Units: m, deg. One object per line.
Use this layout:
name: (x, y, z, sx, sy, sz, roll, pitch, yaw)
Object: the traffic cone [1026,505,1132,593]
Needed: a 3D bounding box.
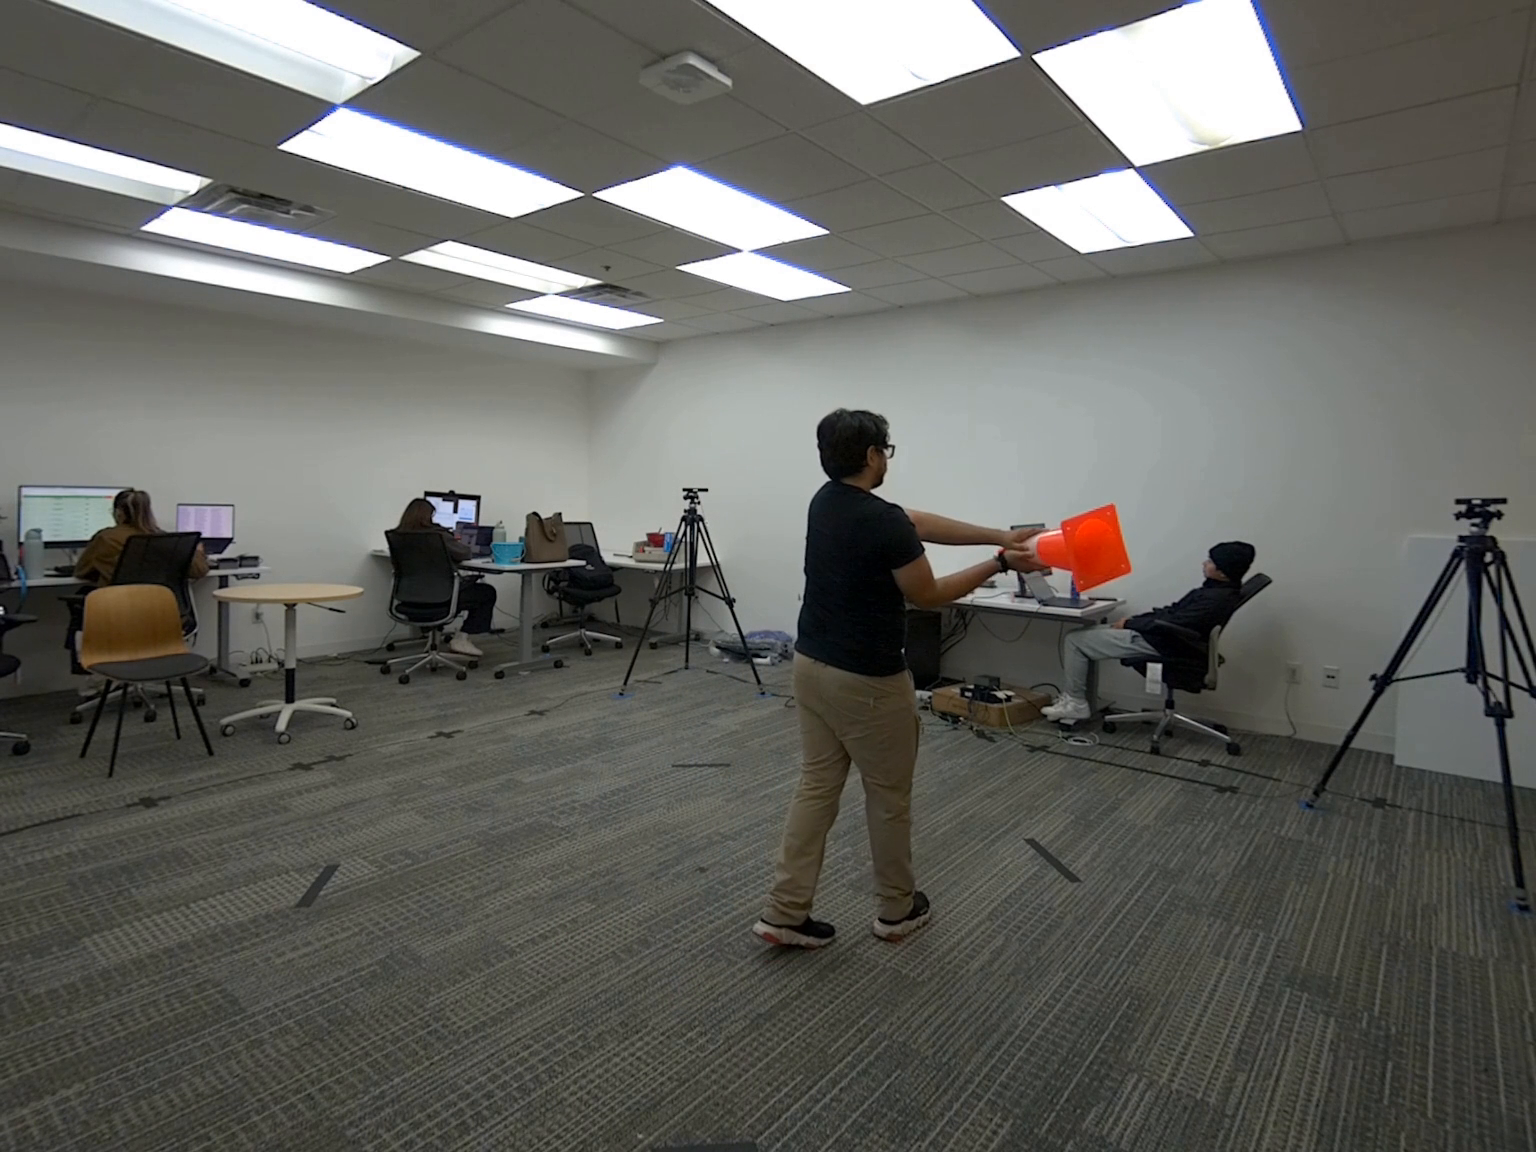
traffic cone: (0.803, -0.072, 2.481, 0.202, 0.203, 0.391, -16, 5, -23)
